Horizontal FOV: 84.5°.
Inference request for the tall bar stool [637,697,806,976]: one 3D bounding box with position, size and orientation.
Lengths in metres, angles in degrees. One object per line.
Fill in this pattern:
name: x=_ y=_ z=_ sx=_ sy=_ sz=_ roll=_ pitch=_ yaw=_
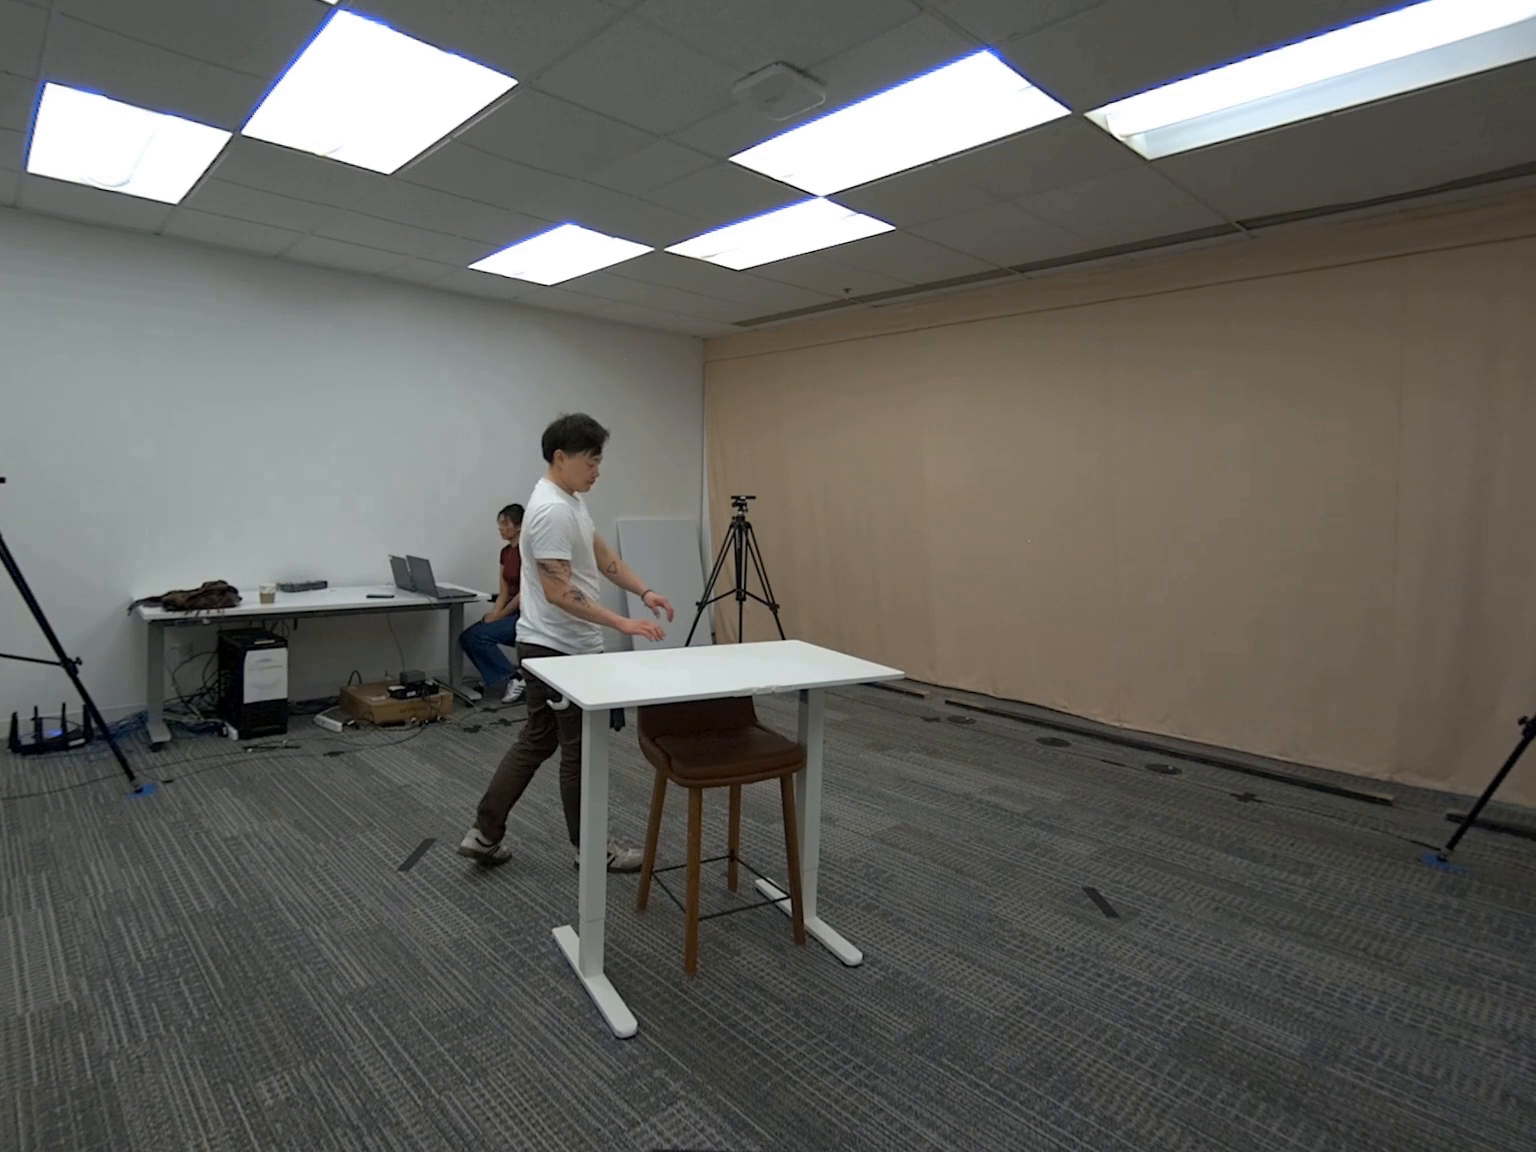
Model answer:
tall bar stool: x=-0.172 y=0.706 z=2.709 sx=0.447 sy=0.889 sz=0.477 roll=-1 pitch=2 yaw=-29
